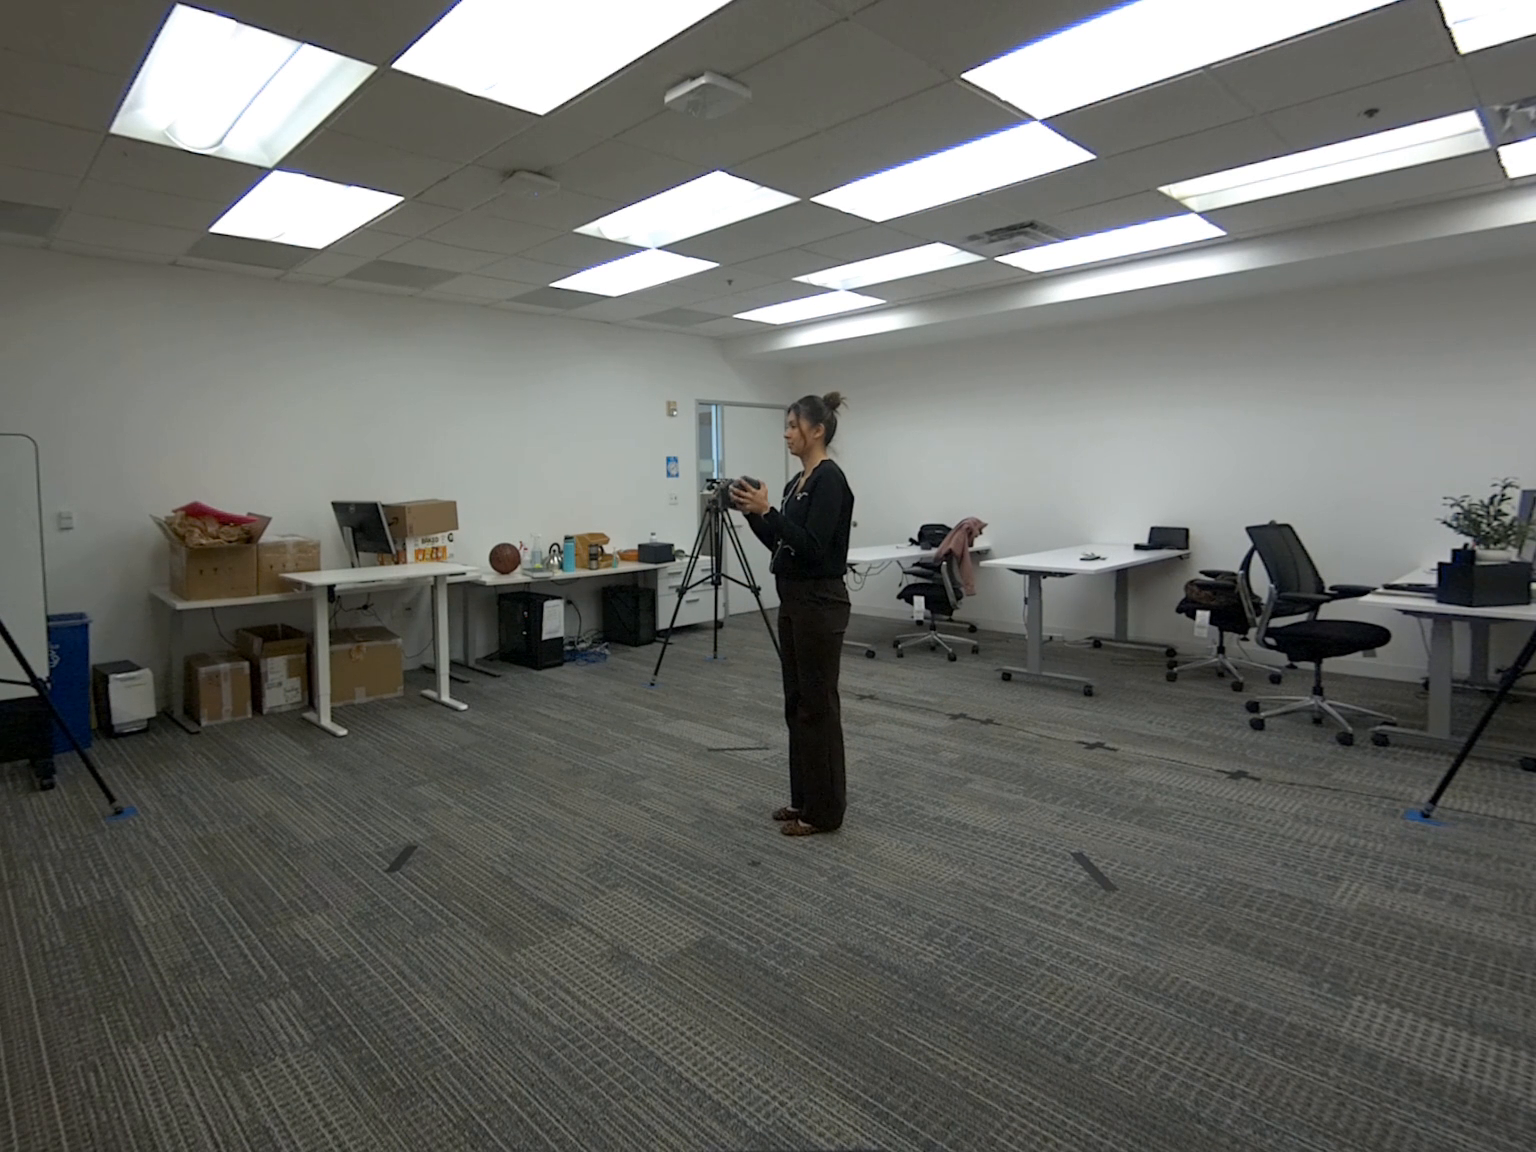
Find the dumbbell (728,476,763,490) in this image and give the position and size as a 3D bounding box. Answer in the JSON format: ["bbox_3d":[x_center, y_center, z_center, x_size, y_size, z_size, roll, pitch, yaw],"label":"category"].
[{"bbox_3d":[-0.090,-0.322,3.365,0.122,0.109,0.296,15,-3,-10],"label":"dumbbell"}]
